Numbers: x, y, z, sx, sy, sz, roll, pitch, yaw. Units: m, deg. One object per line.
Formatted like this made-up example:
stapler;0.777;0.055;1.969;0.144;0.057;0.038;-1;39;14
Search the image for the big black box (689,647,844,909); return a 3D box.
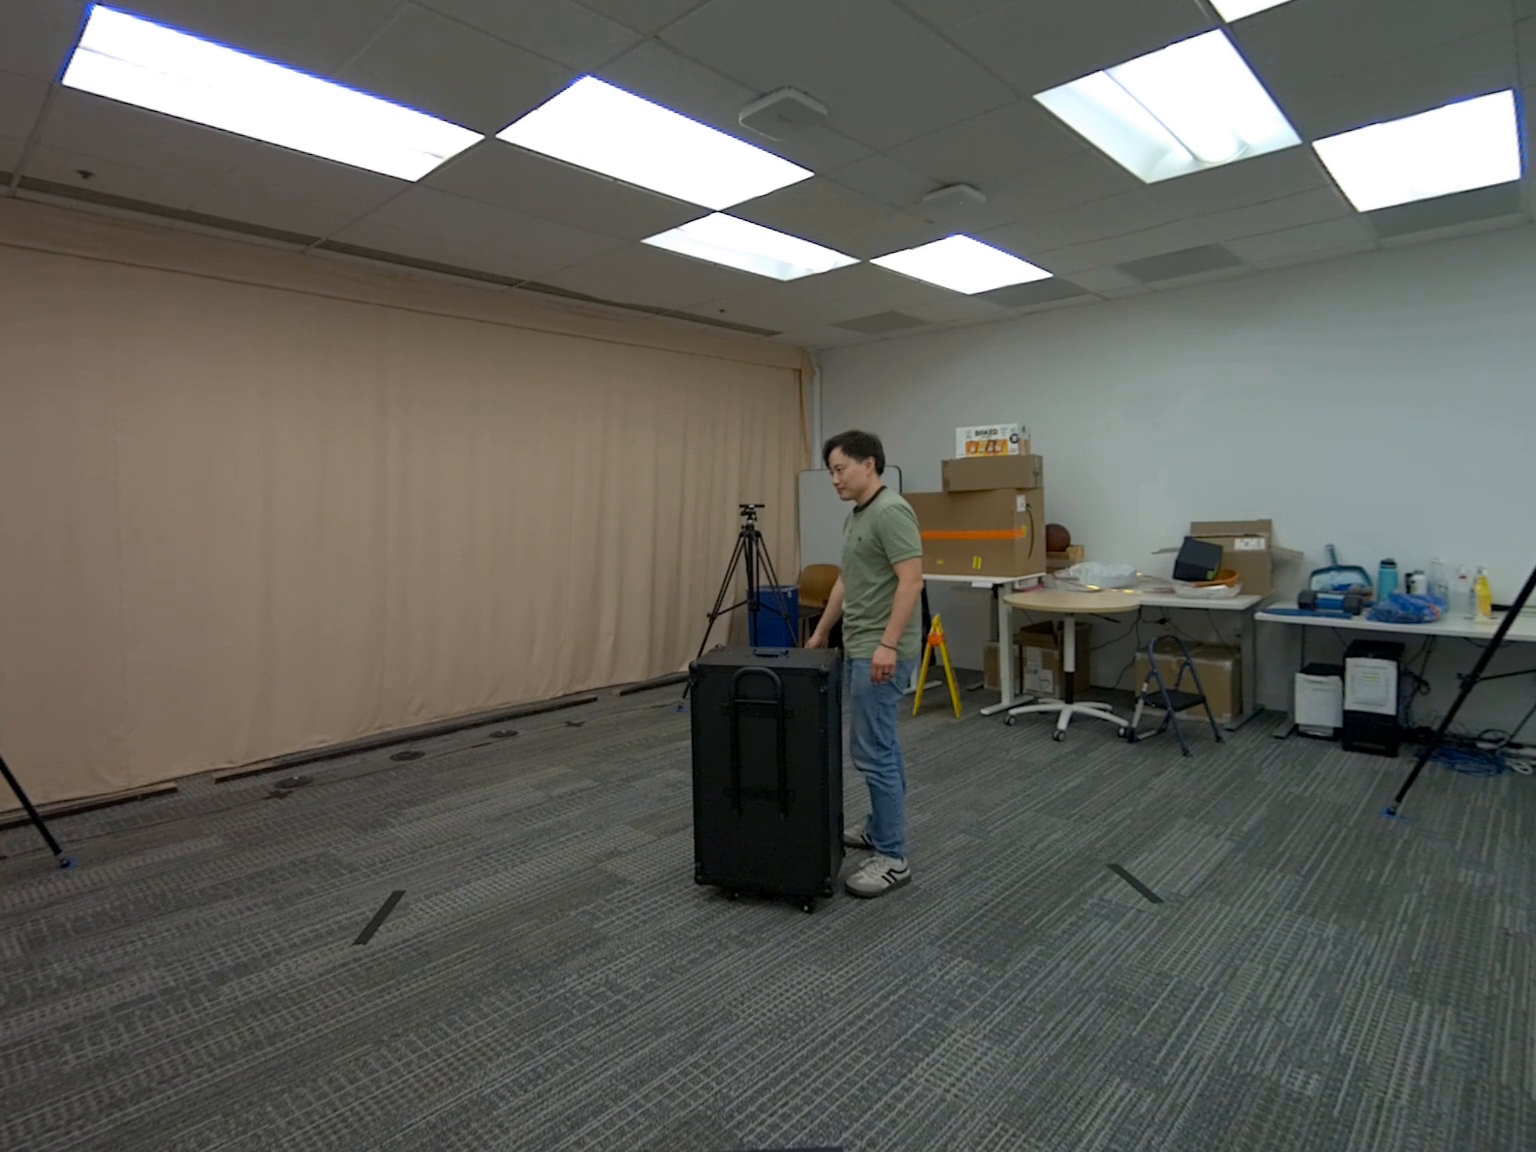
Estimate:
big black box;0.013;0.712;3.016;0.530;0.859;0.390;0;4;16
